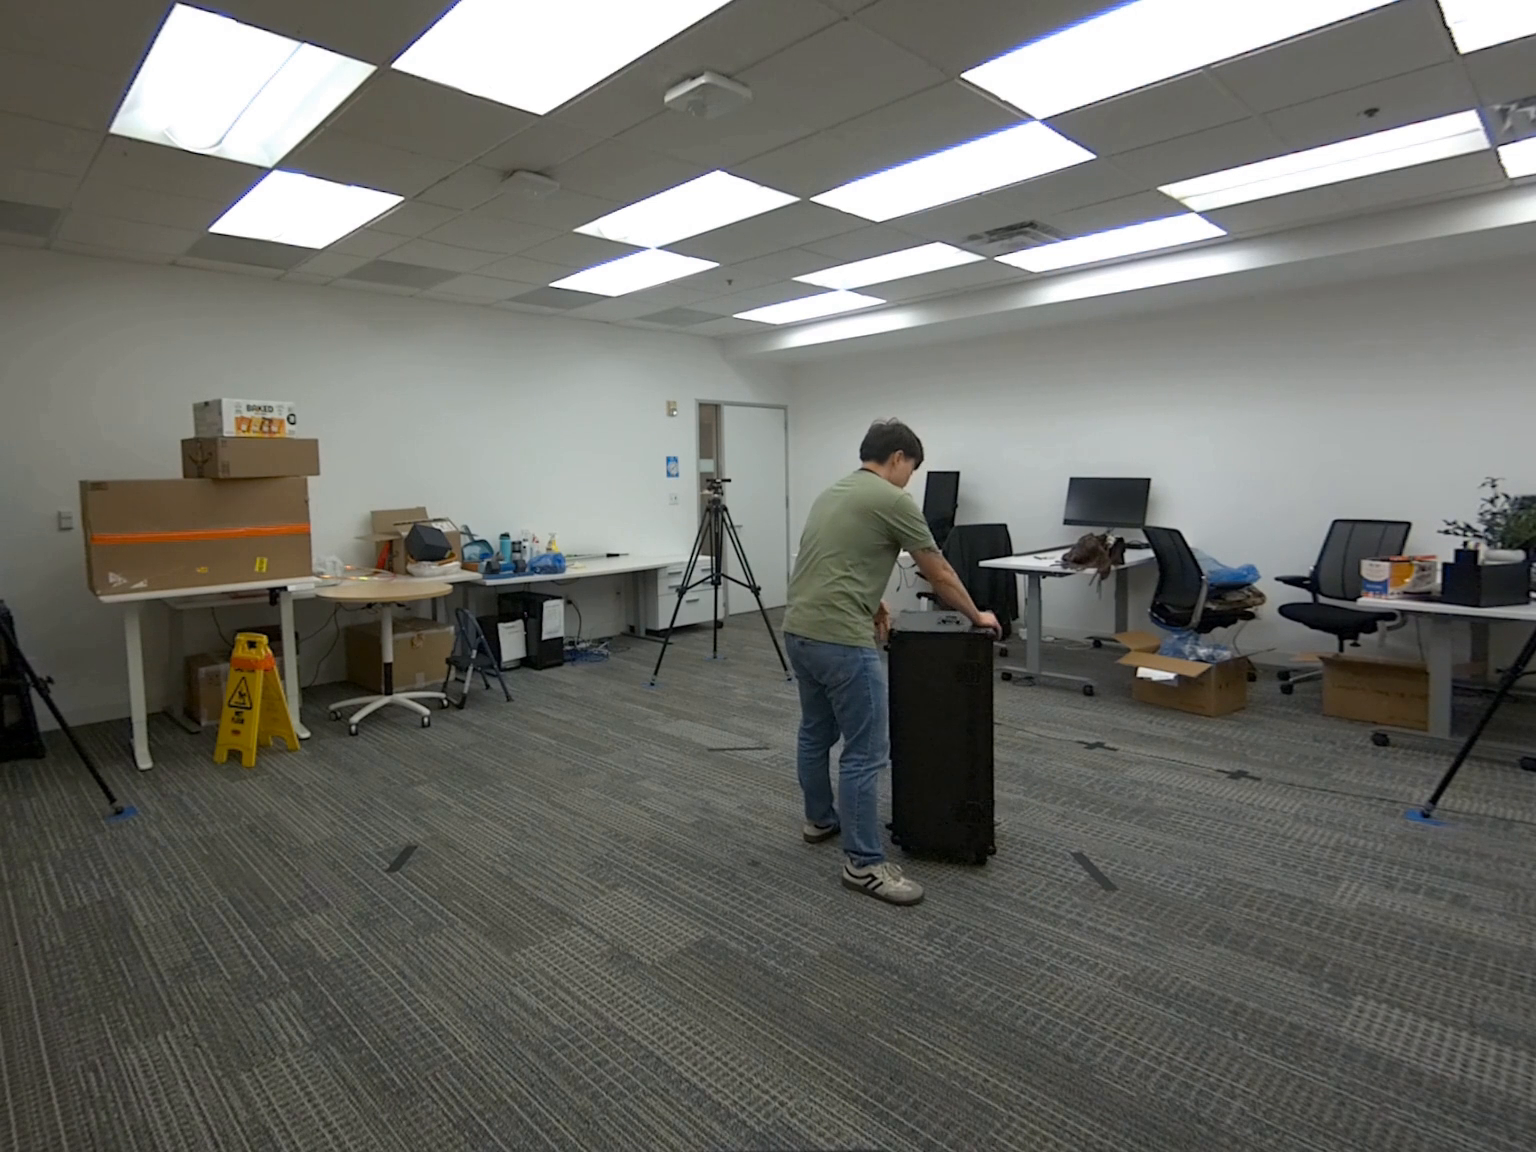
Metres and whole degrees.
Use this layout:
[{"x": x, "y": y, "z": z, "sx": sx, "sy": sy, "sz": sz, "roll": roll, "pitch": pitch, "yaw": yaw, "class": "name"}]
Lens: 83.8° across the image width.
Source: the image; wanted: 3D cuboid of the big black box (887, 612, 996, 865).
[{"x": 0.662, "y": 0.598, "z": 3.238, "sx": 0.403, "sy": 0.859, "sz": 0.515, "roll": -1, "pitch": 4, "yaw": 16, "class": "big black box"}]
